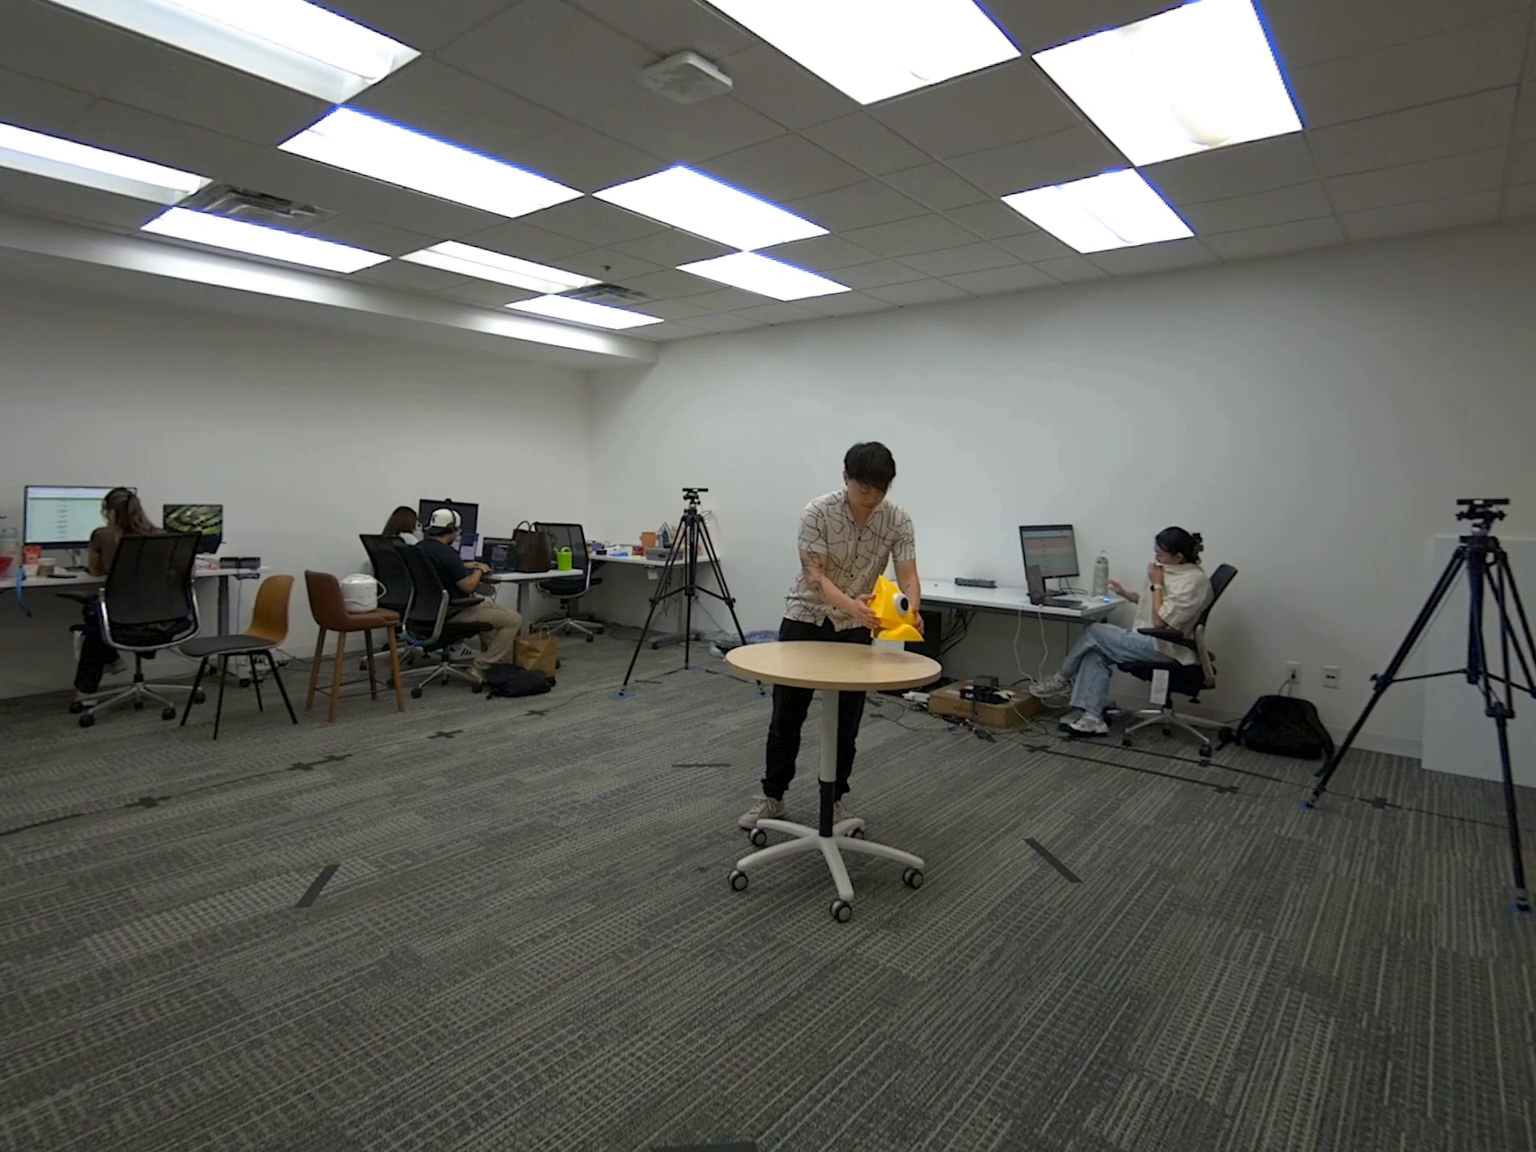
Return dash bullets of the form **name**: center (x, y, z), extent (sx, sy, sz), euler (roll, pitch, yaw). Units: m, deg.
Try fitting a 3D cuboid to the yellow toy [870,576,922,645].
- **yellow toy**: center (0.458, 0.109, 3.123), extent (0.191, 0.231, 0.207), euler (3, -2, -12)
